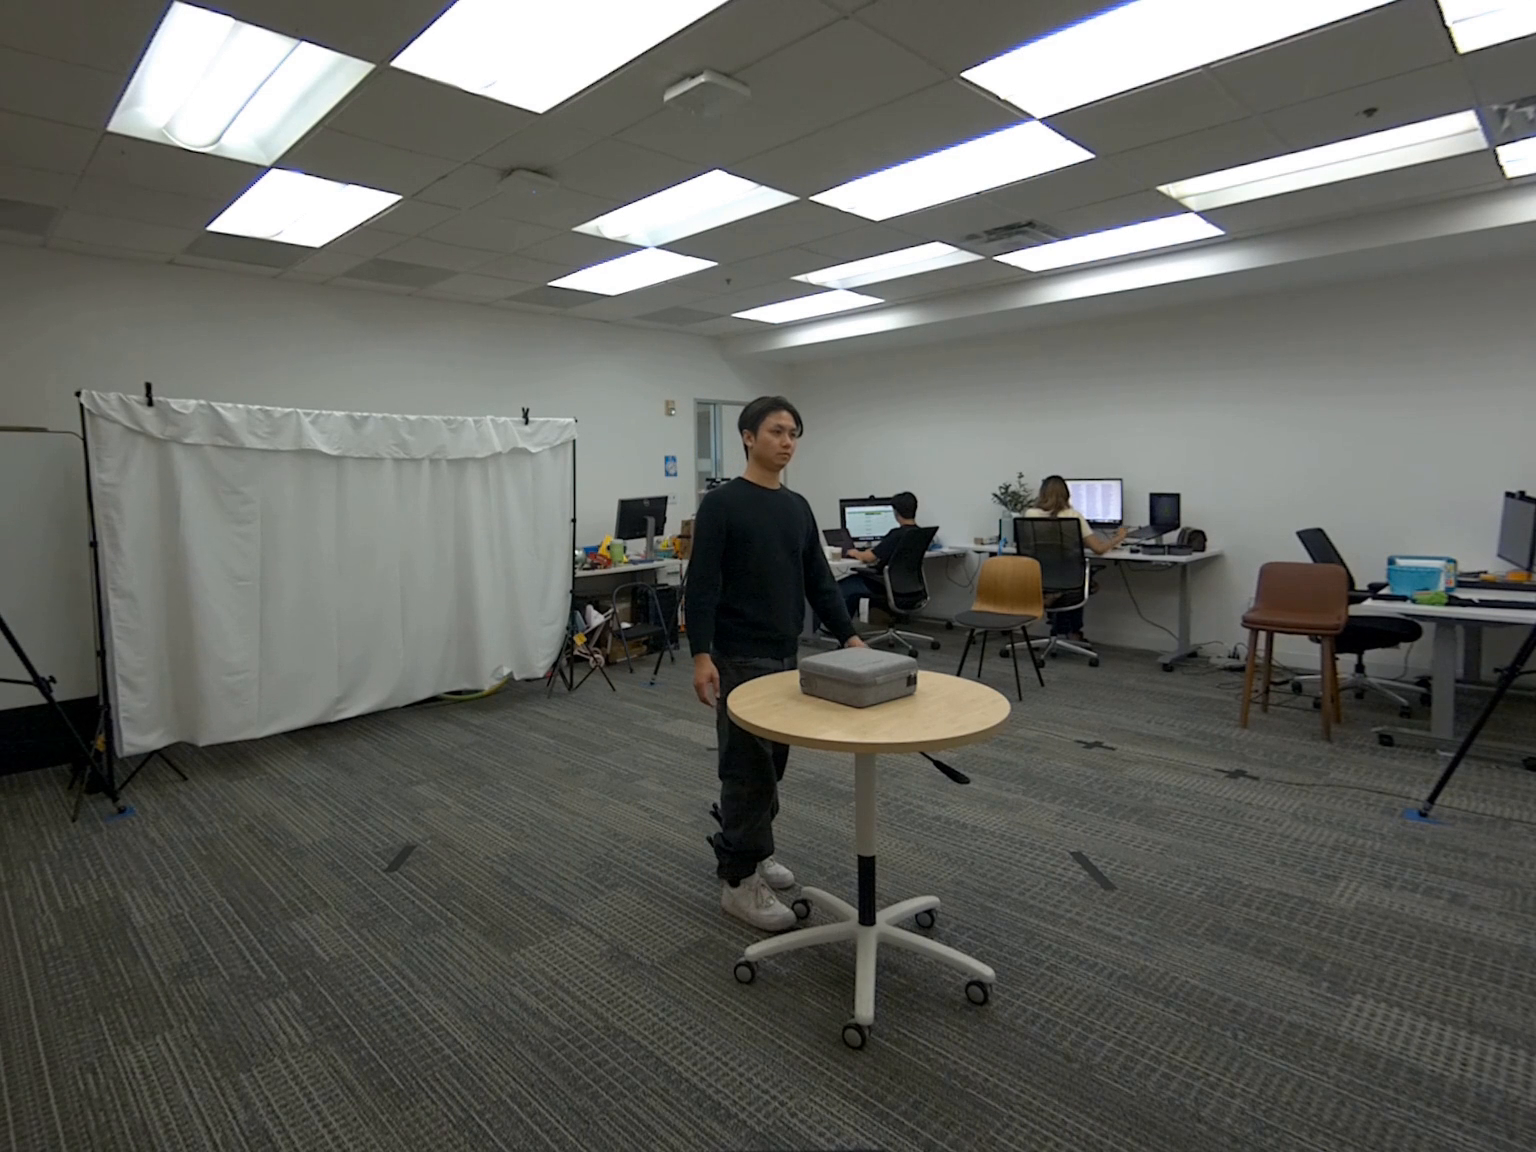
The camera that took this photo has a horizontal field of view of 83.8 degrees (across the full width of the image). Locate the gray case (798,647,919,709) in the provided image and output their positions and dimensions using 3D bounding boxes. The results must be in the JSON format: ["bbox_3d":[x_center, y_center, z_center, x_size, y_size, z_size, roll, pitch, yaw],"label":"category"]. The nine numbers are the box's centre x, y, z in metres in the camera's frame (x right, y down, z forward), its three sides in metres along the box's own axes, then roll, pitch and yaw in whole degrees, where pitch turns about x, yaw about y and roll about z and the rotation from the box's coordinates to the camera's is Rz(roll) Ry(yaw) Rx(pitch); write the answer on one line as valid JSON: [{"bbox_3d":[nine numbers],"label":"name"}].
[{"bbox_3d":[0.256,0.283,2.416,0.251,0.104,0.268,-8,9,-38],"label":"gray case"}]
